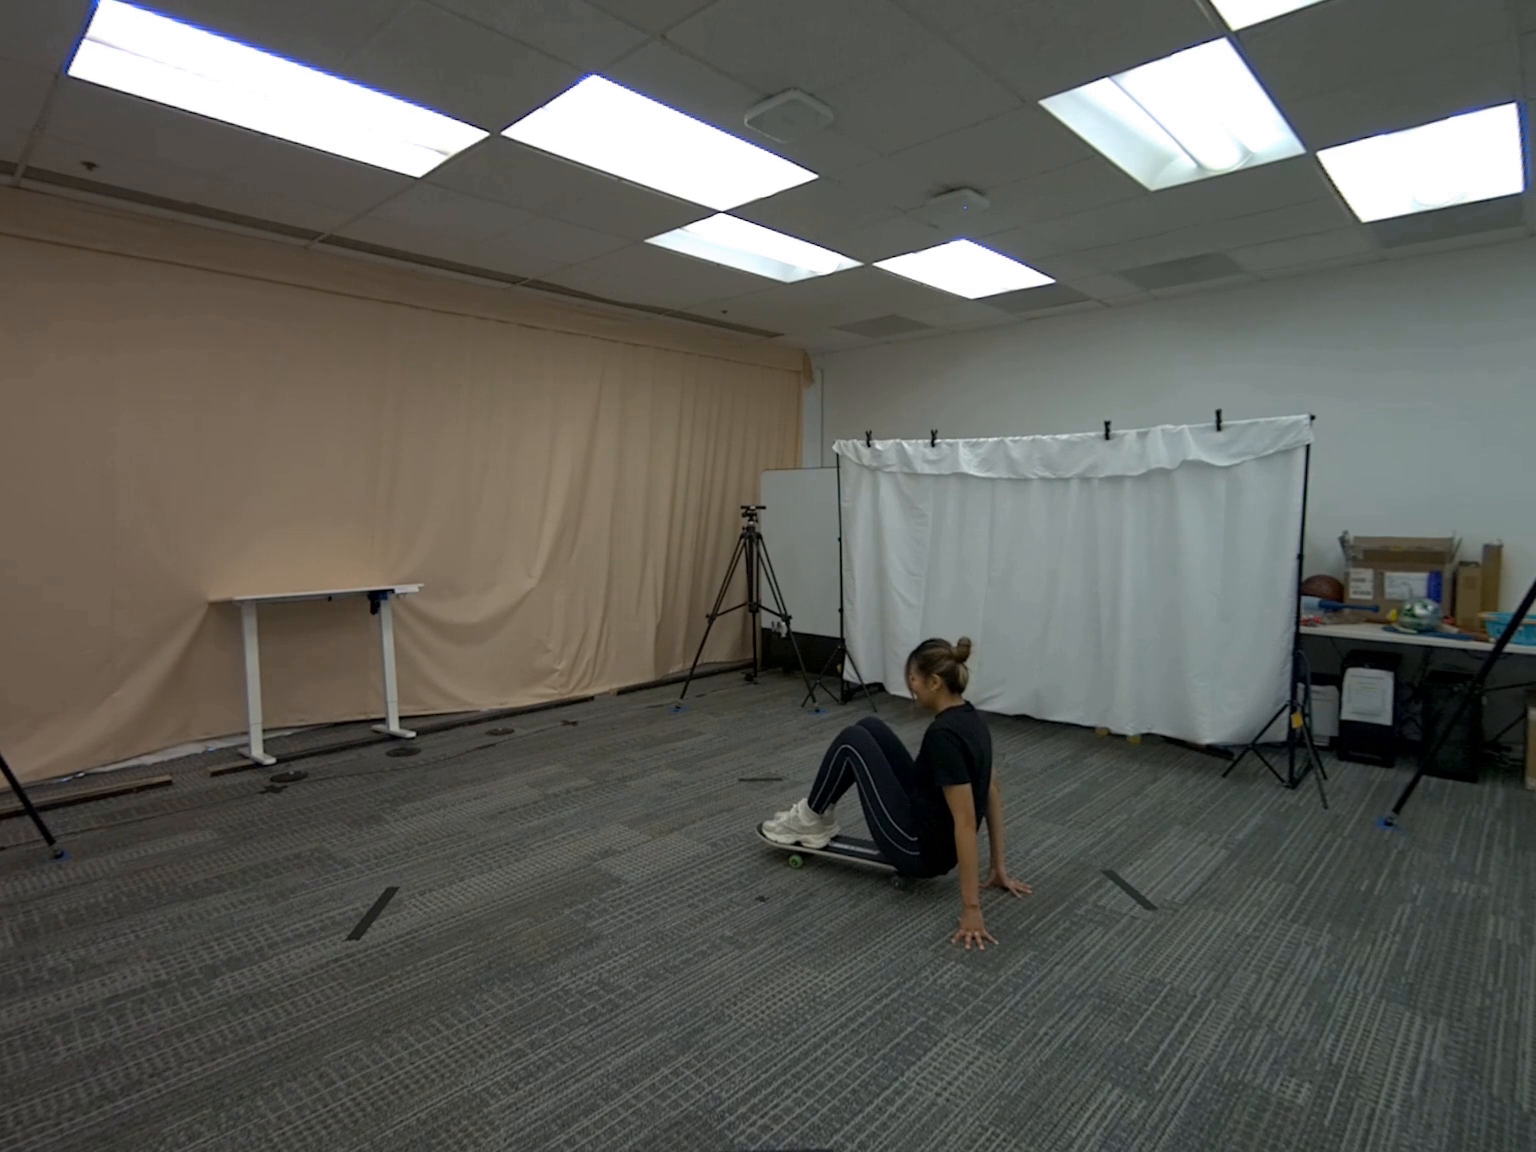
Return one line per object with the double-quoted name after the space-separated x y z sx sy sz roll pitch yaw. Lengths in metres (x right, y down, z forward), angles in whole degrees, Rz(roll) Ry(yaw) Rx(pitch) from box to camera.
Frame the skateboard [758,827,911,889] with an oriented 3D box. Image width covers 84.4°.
0.331 1.076 3.224 0.805 0.110 0.189 2 4 24 "skateboard"
